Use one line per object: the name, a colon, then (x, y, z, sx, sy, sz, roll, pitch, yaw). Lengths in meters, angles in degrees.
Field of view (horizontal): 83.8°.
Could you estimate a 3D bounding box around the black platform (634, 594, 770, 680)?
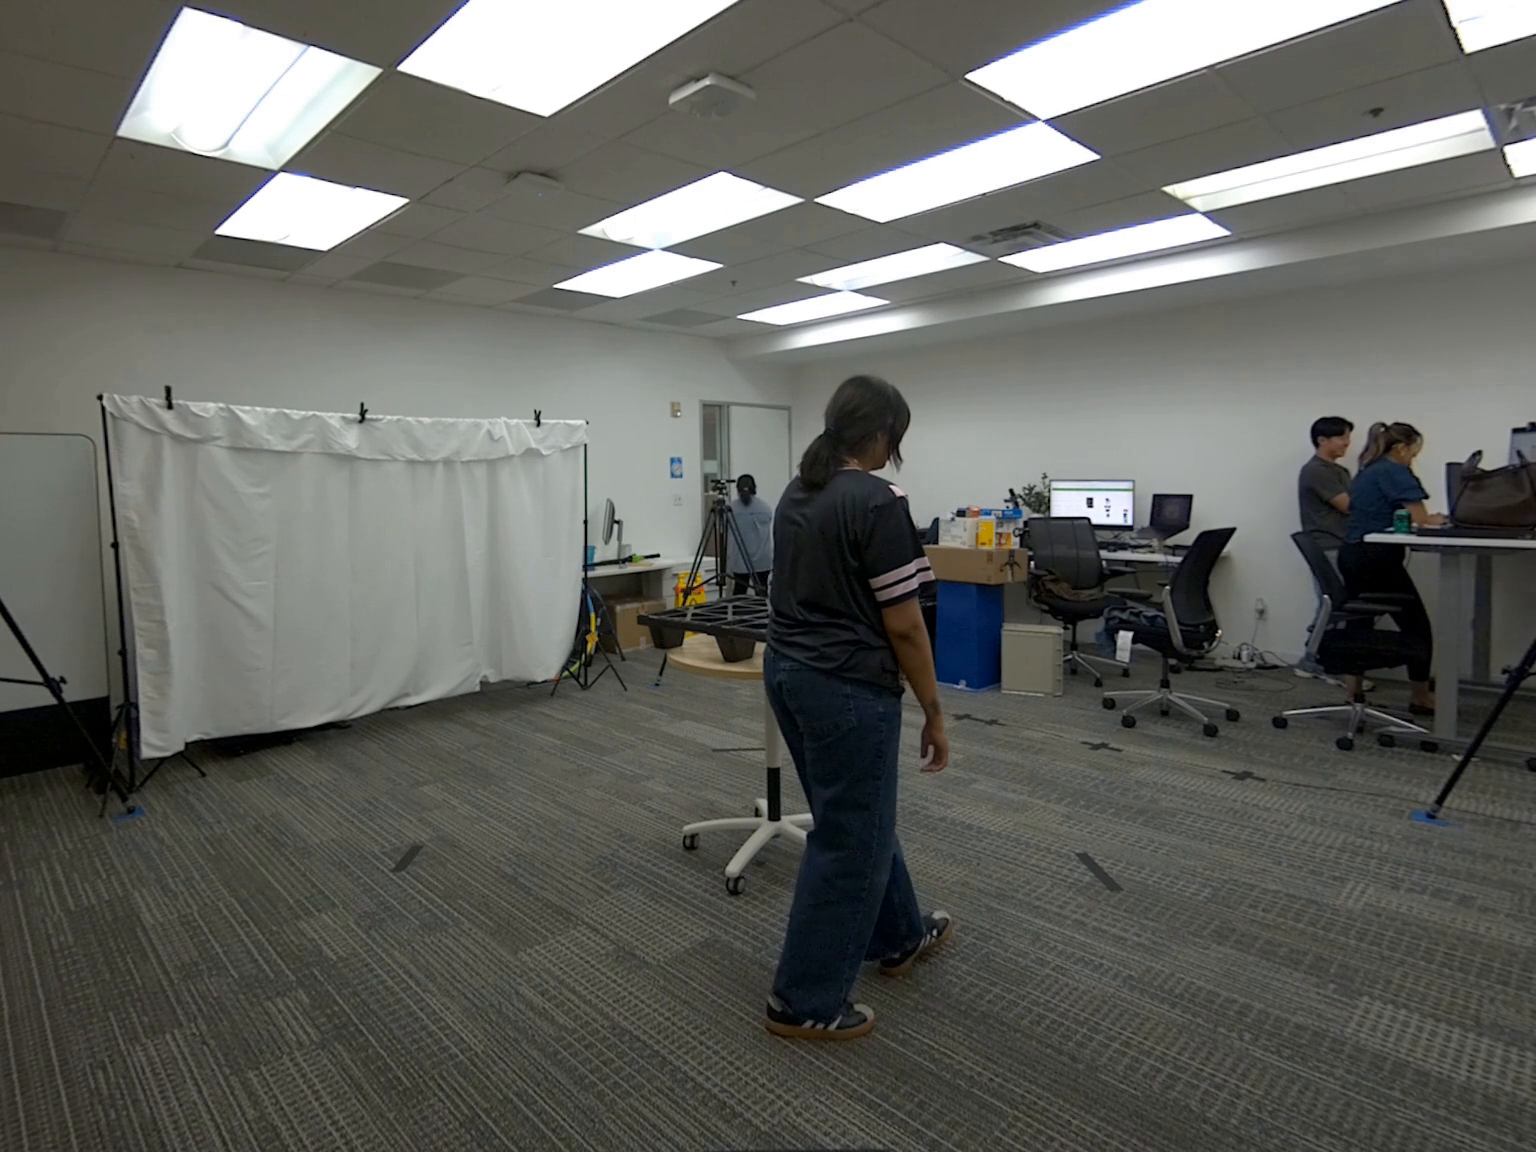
black platform: (0.019, 0.207, 3.053, 0.830, 0.142, 0.590, 5, 9, 41)
